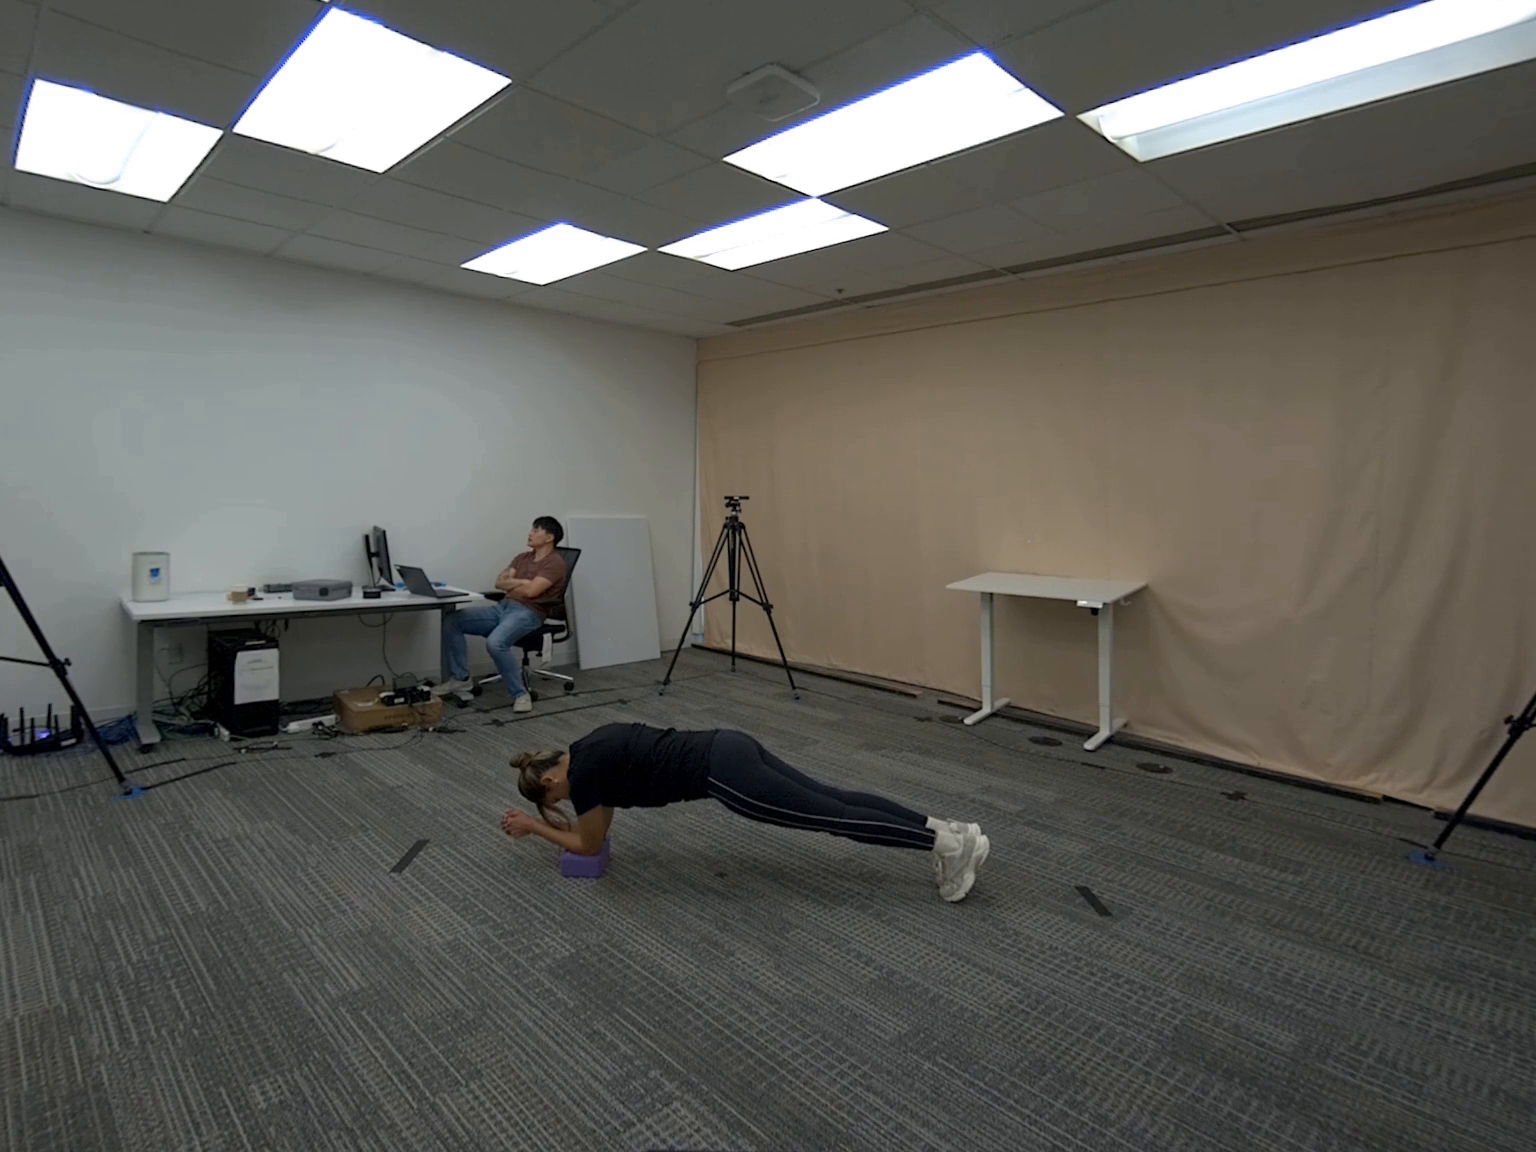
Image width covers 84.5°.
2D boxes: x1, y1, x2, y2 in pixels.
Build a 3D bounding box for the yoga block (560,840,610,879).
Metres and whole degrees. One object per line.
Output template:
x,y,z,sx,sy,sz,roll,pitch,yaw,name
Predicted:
-0.686,1.041,3.165,0.149,0.076,0.230,0,5,1,yoga block
